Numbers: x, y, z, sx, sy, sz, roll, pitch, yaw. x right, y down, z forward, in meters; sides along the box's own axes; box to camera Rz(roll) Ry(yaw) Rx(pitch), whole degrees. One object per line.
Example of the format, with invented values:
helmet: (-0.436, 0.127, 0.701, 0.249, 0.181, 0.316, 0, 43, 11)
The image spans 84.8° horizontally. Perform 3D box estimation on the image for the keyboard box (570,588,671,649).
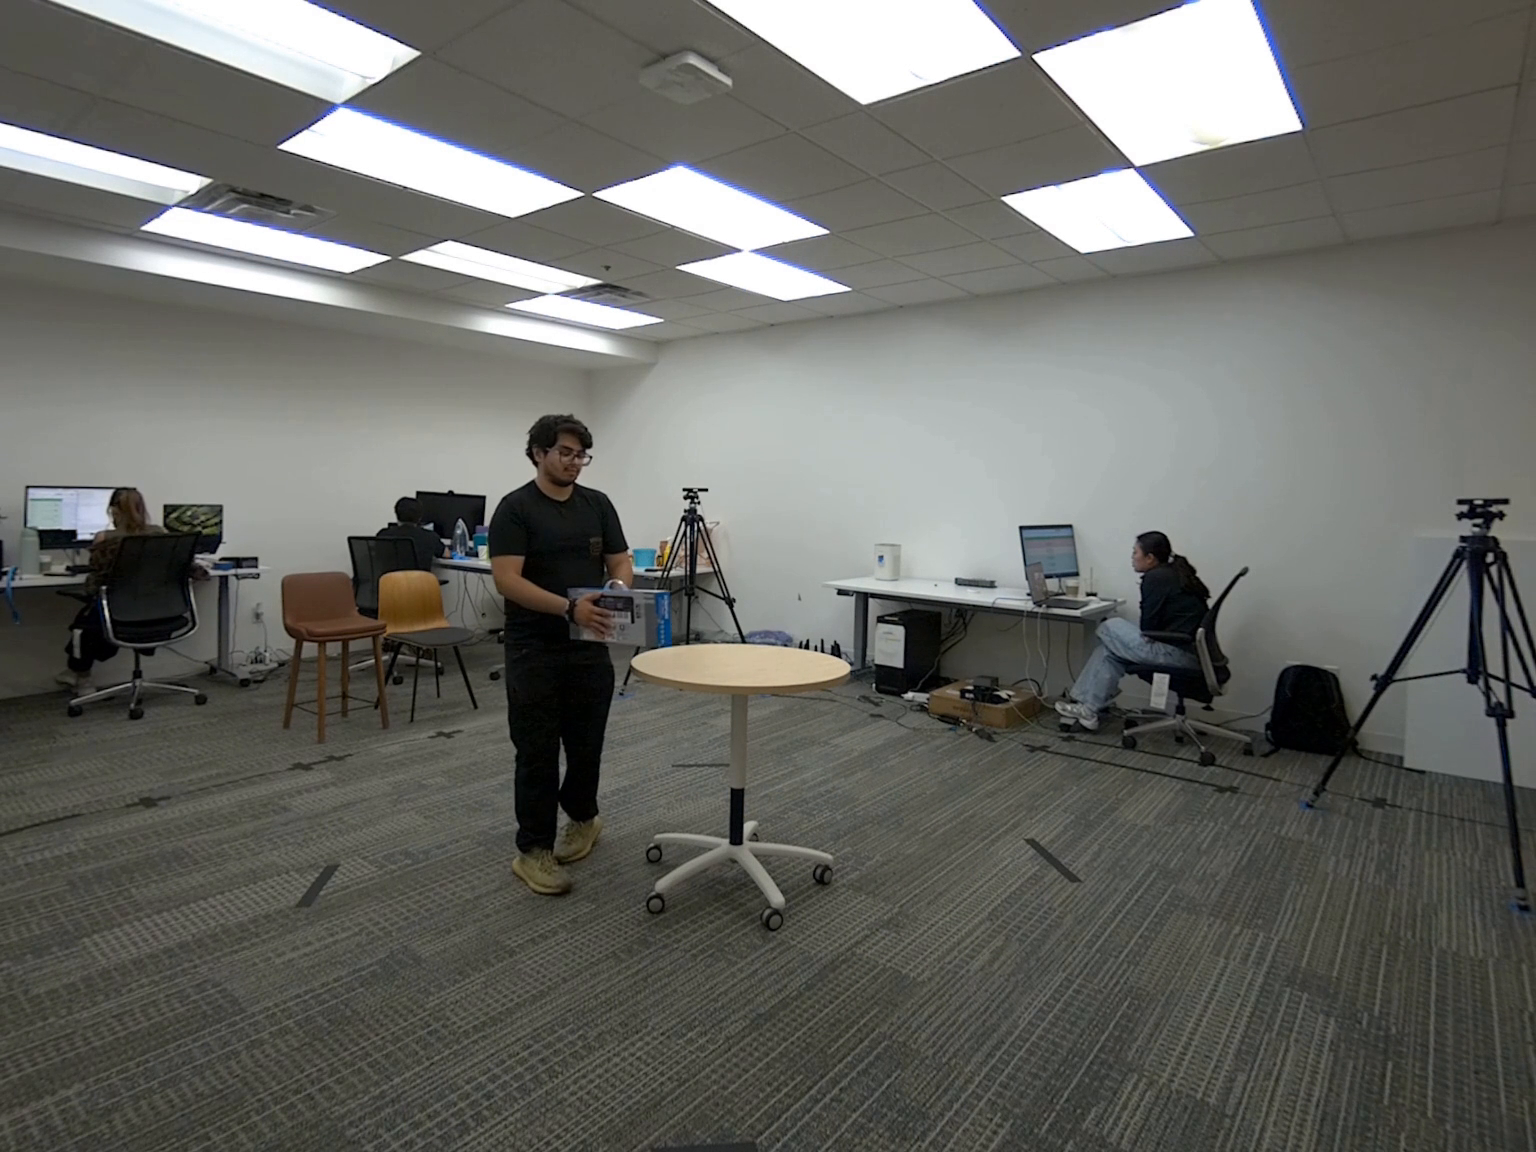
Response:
keyboard box: (-0.502, 0.130, 2.770, 0.450, 0.176, 0.057, 0, 1, 40)
